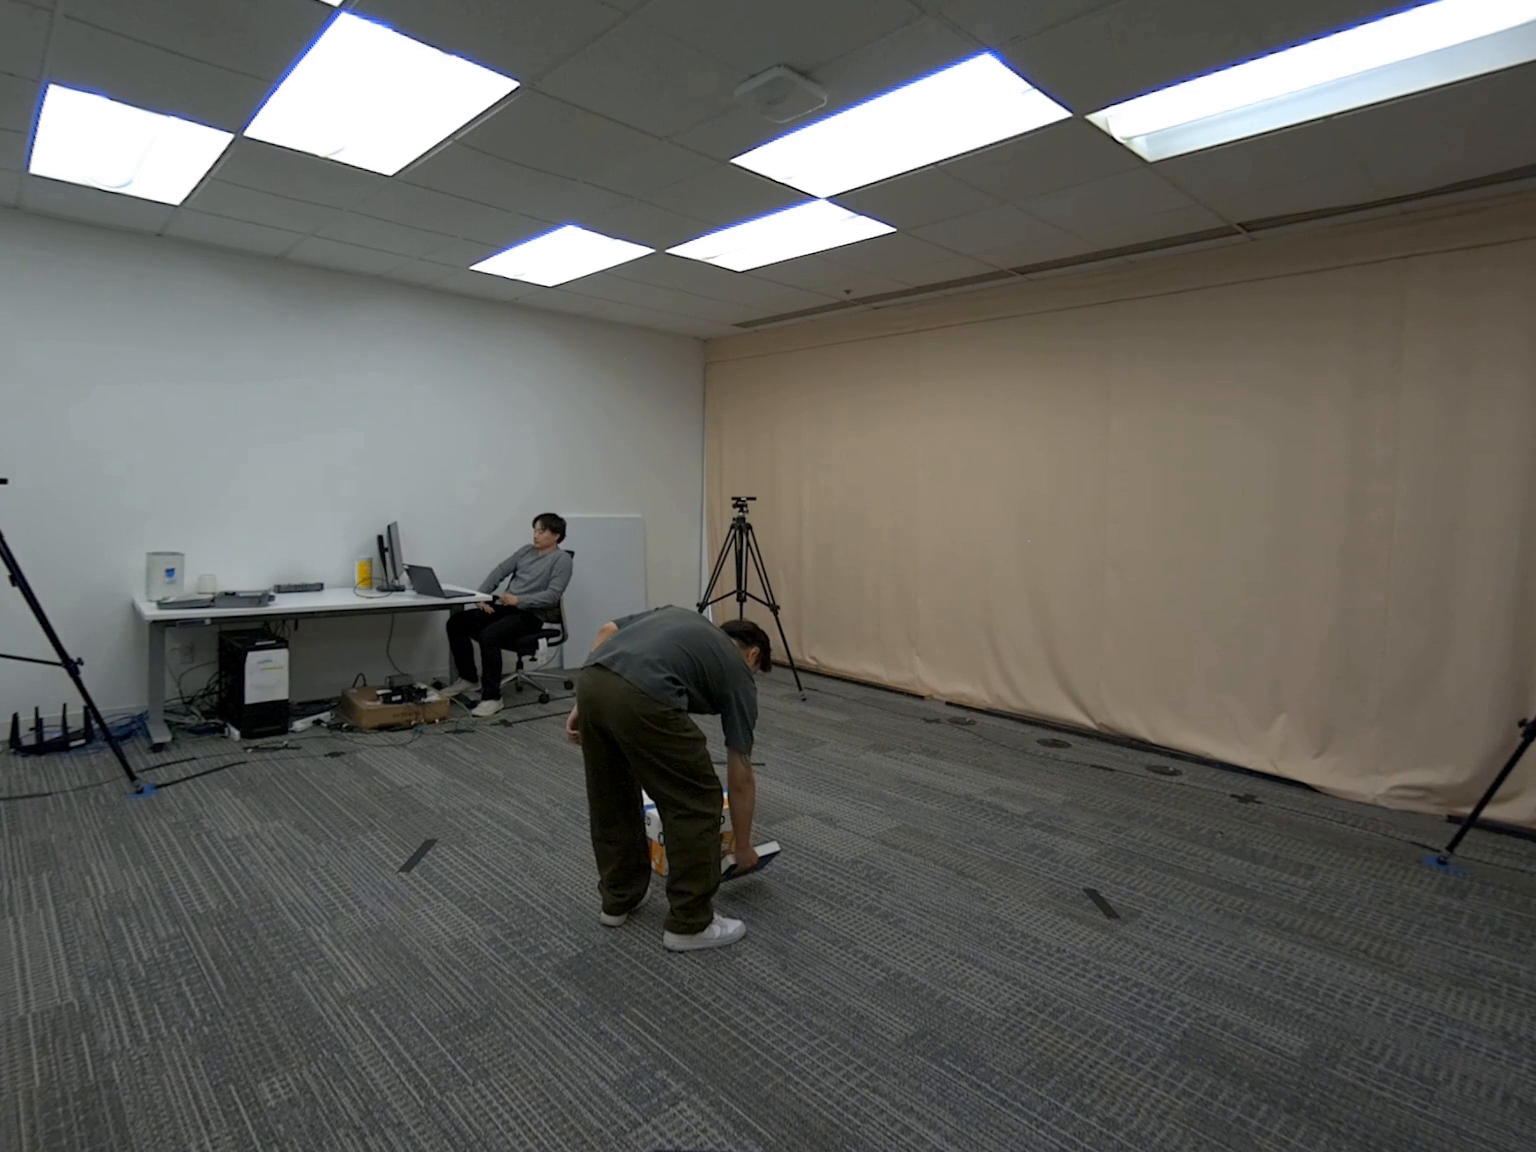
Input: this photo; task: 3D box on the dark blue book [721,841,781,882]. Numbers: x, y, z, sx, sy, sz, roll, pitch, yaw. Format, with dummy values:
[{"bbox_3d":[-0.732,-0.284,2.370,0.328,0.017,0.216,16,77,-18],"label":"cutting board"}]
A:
[{"bbox_3d":[-0.093,1.012,2.970,0.239,0.046,0.163,-2,-39,-40],"label":"dark blue book"}]
